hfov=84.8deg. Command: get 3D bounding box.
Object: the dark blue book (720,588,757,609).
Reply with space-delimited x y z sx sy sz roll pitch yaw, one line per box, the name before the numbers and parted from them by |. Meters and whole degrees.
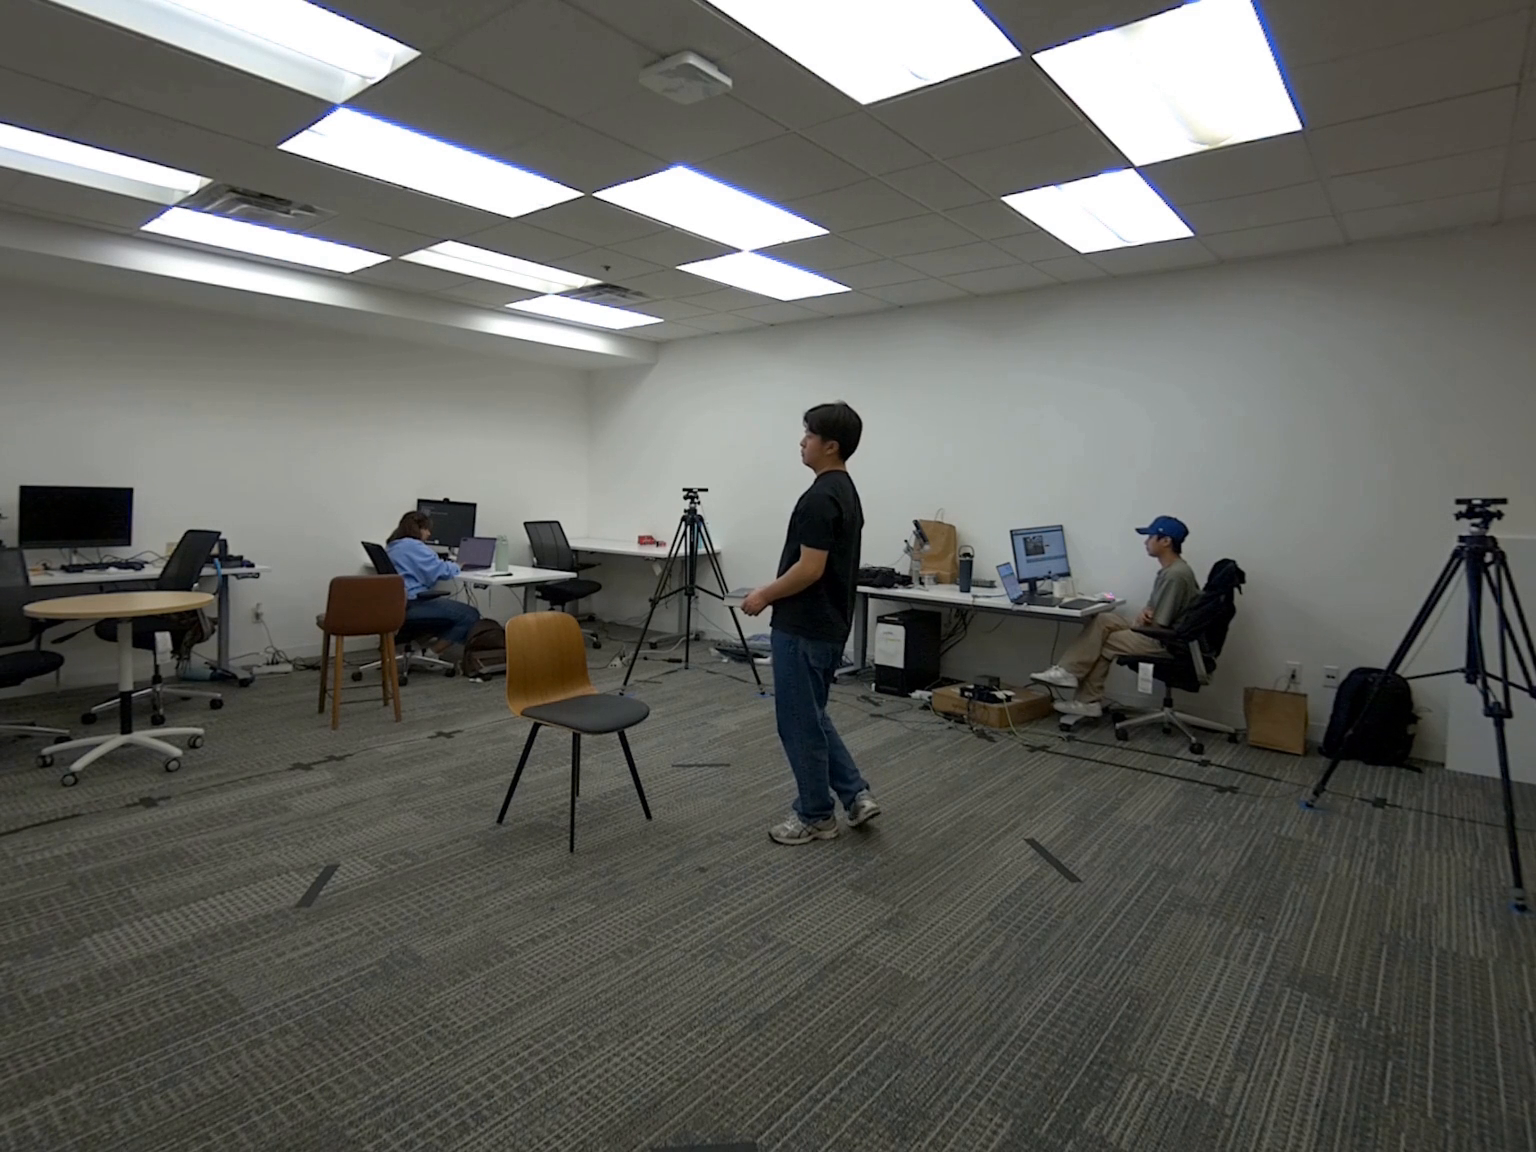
dark blue book | -0.079 0.093 3.479 0.167 0.045 0.241 4 8 18
